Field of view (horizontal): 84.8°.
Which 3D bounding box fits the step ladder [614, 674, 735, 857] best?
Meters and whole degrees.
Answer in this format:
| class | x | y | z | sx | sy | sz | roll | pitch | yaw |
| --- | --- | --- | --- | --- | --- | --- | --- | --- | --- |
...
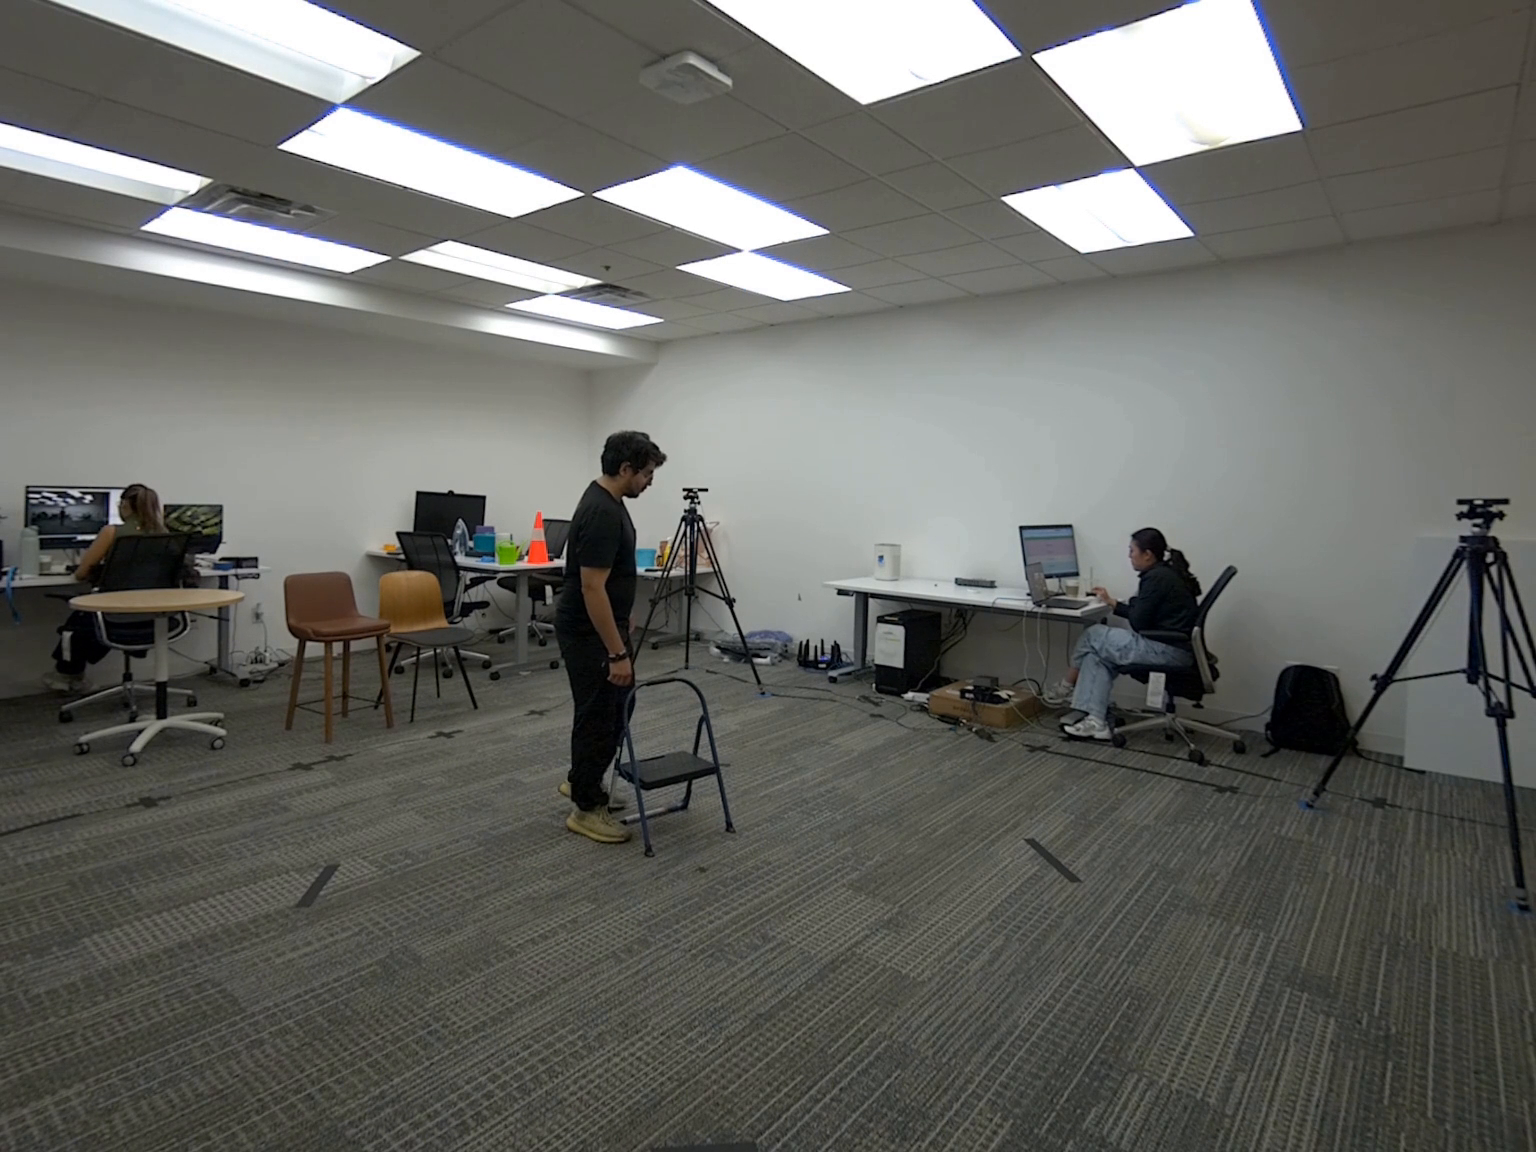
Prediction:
| class | x | y | z | sx | sy | sz | roll | pitch | yaw |
| --- | --- | --- | --- | --- | --- | --- | --- | --- | --- |
| step ladder | -0.406 | 0.732 | 3.451 | 0.418 | 0.604 | 0.361 | -2 | 4 | -40 |
